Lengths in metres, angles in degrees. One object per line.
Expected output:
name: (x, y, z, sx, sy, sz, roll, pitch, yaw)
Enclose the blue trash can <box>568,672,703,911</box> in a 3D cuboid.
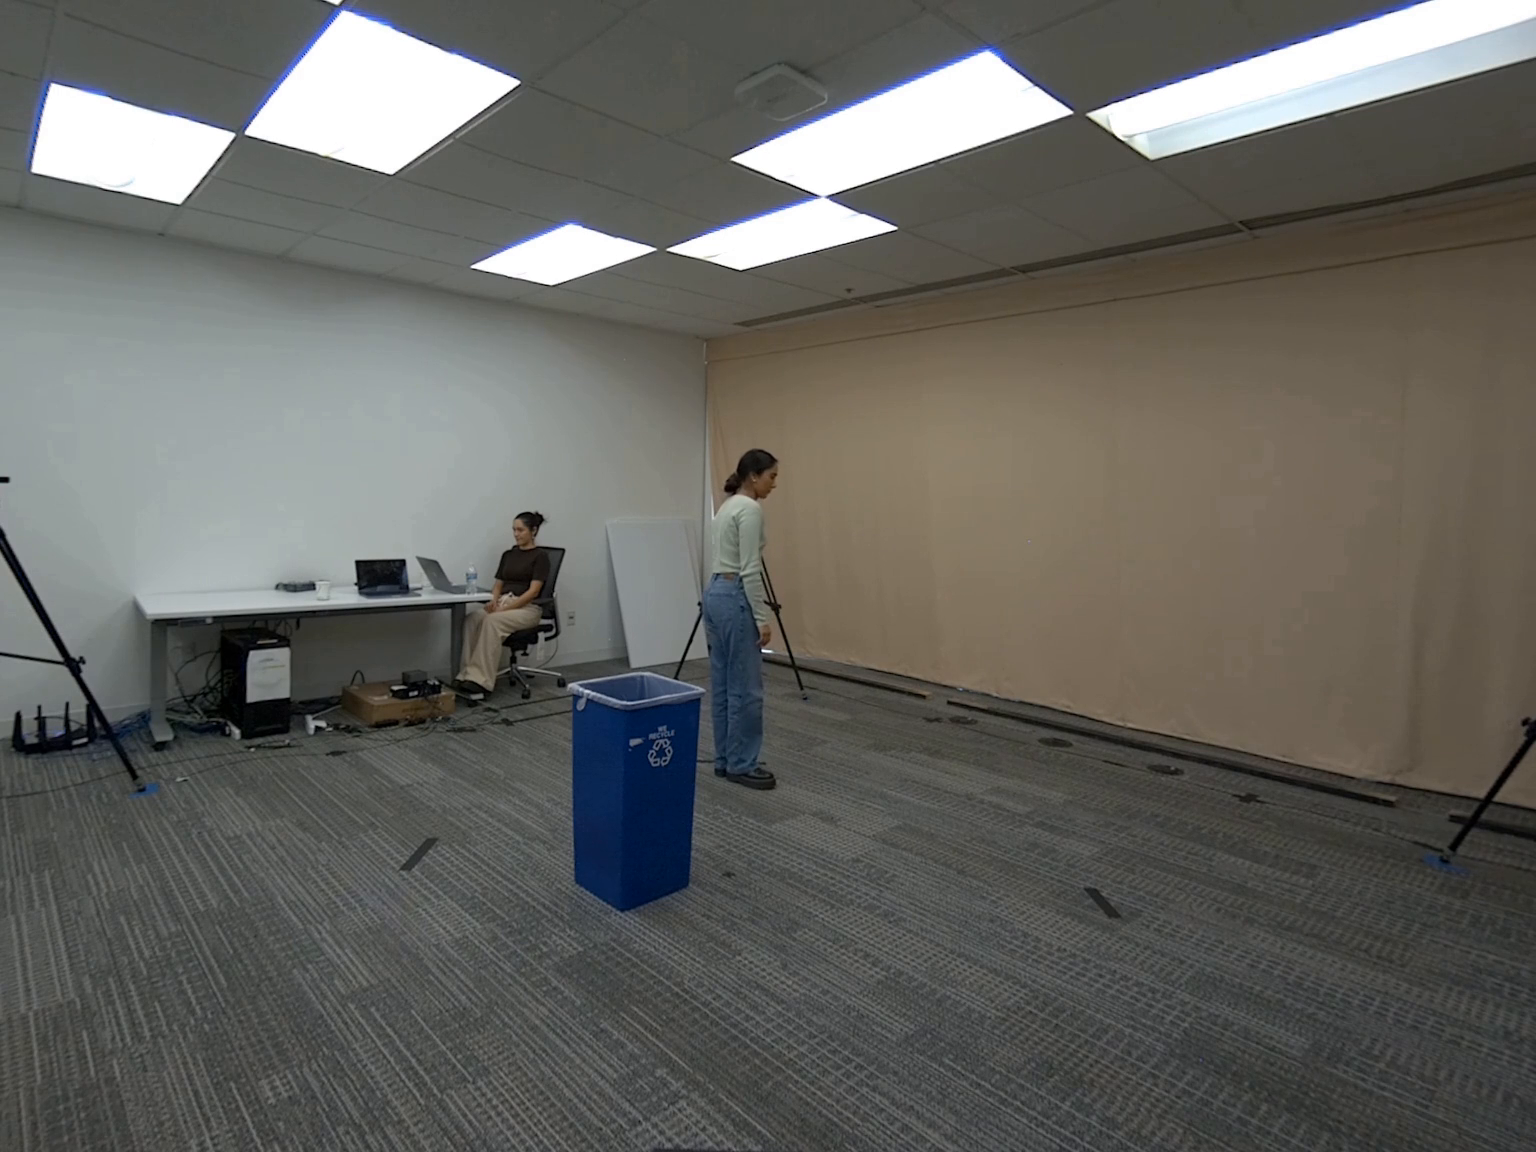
blue trash can: (-0.481, 0.747, 3.002, 0.365, 0.712, 0.388, -2, 5, -45)
